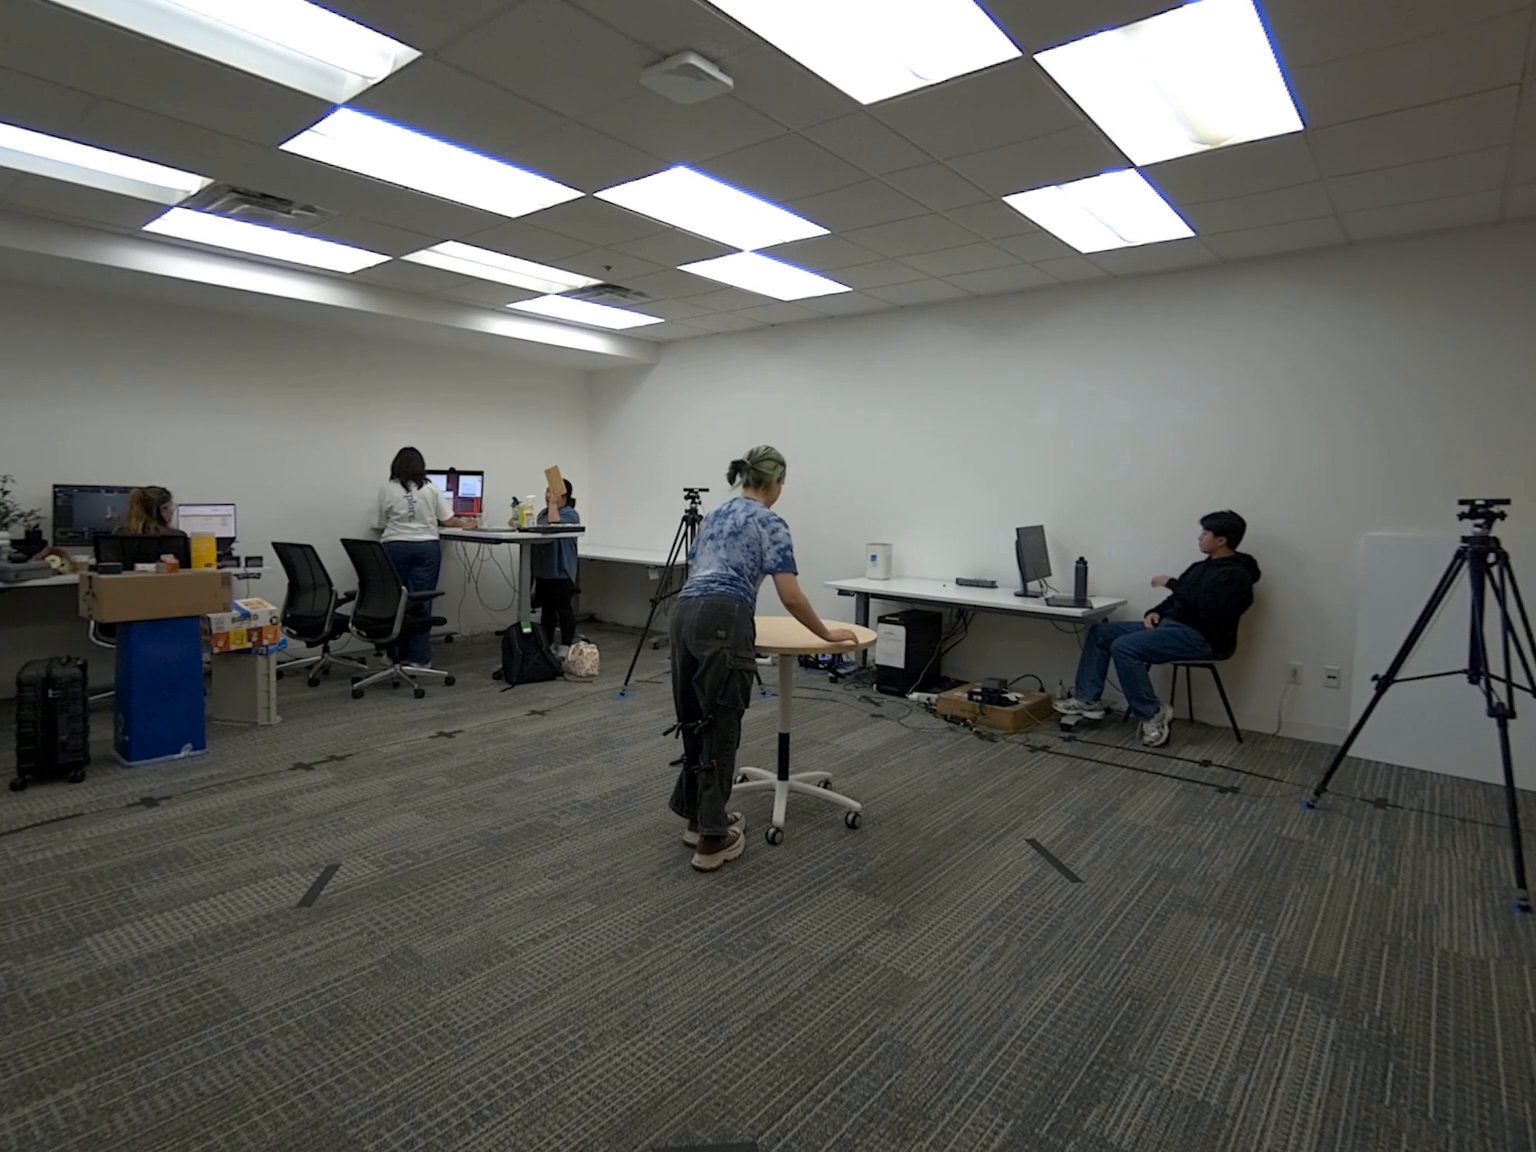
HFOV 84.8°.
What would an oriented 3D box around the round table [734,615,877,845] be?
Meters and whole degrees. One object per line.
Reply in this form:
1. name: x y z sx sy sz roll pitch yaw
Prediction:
1. round table: 0.062 0.629 3.682 0.763 0.792 0.767 1 4 -2
